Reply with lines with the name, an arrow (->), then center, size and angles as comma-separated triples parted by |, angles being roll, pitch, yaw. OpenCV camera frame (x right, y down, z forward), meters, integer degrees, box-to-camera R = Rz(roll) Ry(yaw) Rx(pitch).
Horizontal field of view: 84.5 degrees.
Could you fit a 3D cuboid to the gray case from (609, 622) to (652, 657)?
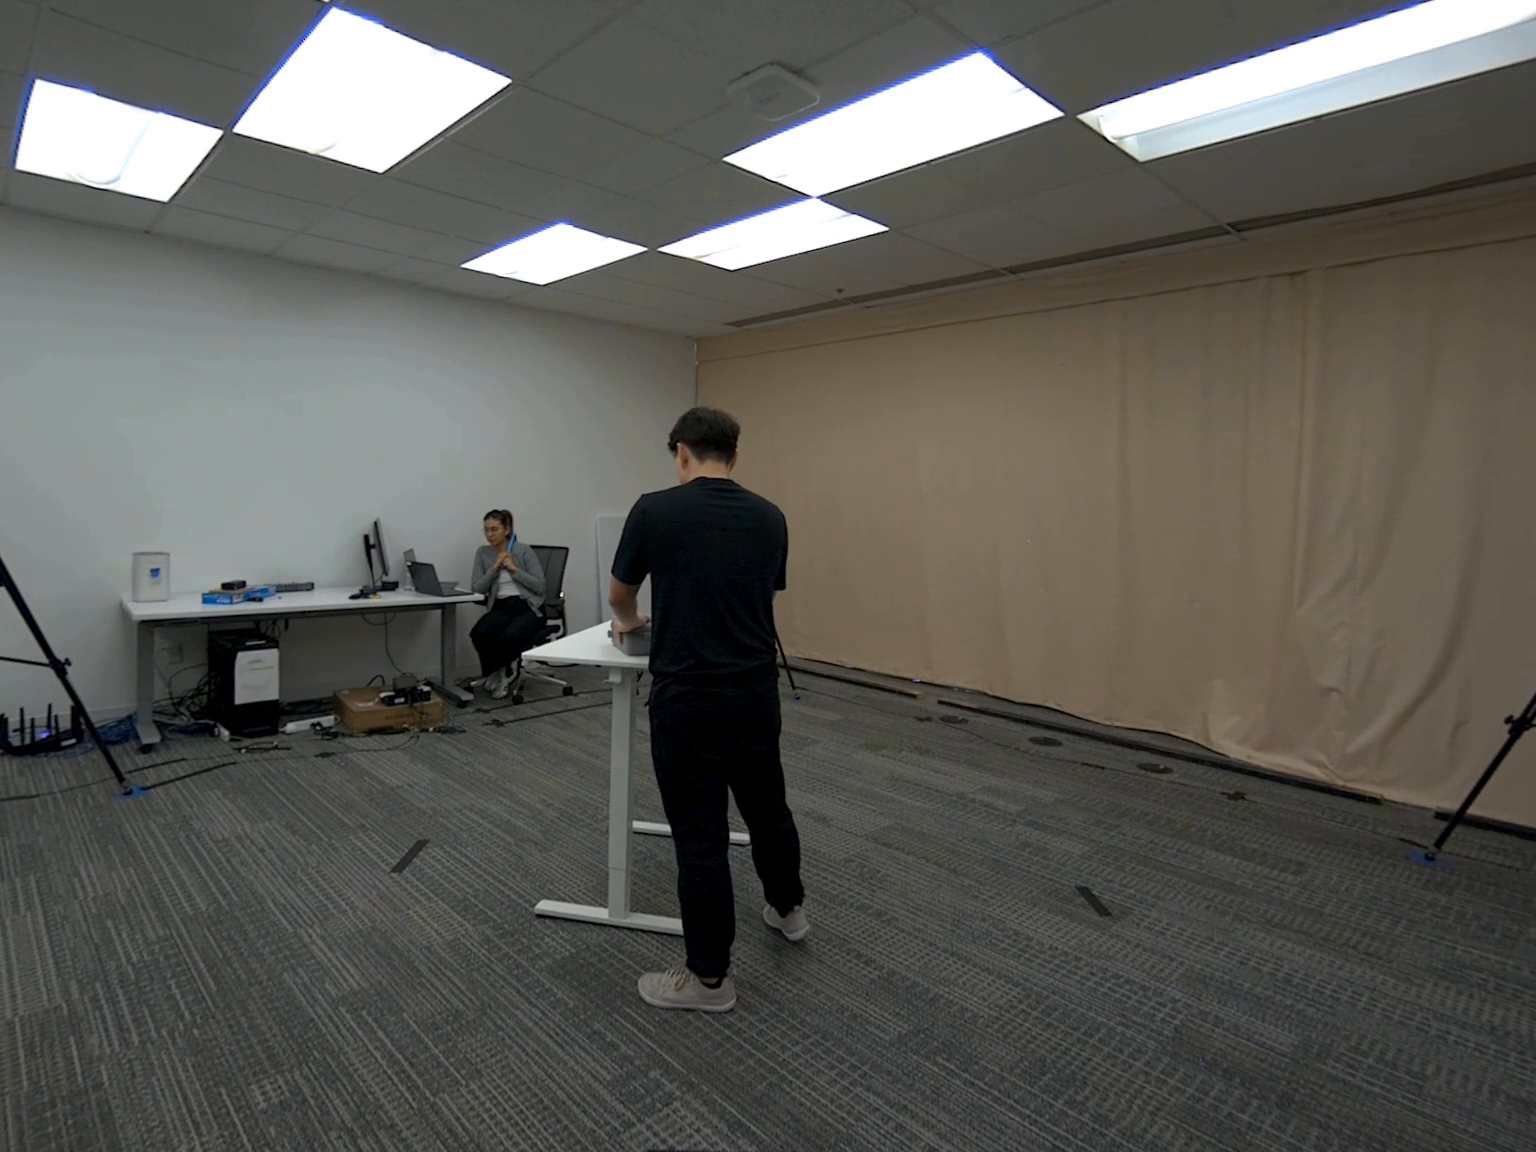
gray case -> -0.387, 0.194, 2.796 | 0.253, 0.104, 0.265 | -3, 5, -21
